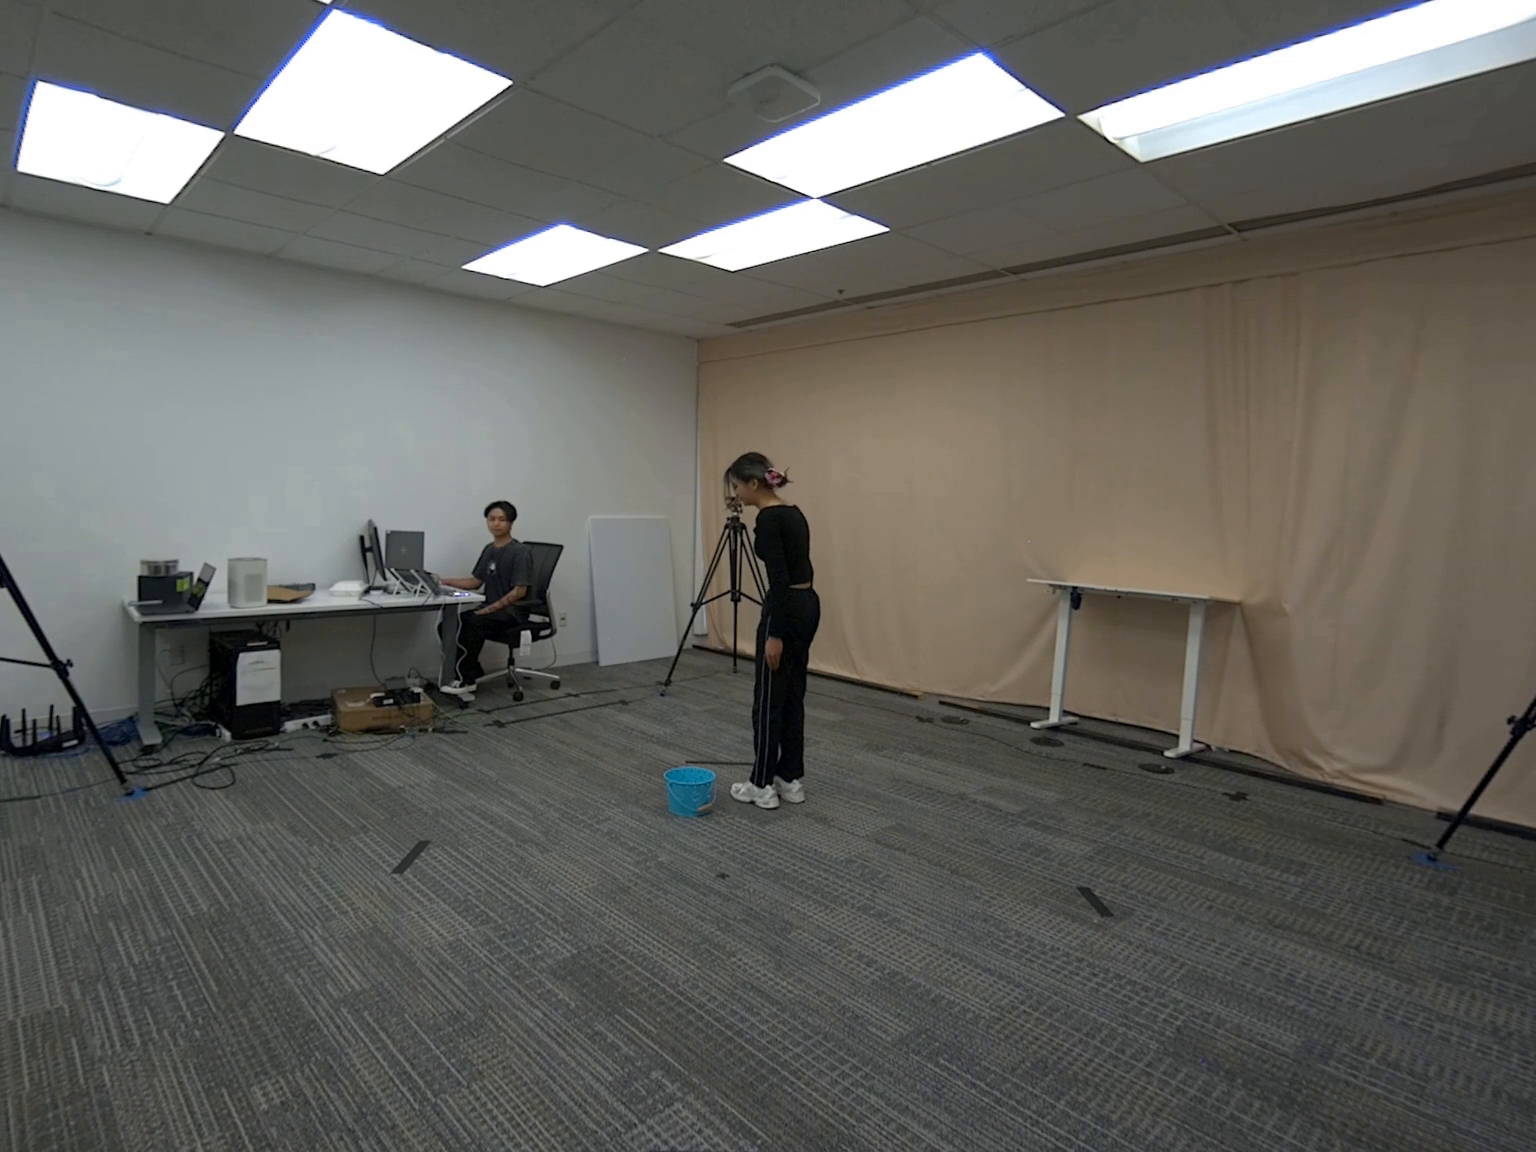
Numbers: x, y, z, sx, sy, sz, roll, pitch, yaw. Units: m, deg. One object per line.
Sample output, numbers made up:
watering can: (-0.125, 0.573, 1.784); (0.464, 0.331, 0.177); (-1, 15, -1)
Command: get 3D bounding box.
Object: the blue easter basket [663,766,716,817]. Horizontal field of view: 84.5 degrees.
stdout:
blue easter basket: (-0.362, 0.968, 3.769); (0.243, 0.155, 0.244); (1, 5, -1)
